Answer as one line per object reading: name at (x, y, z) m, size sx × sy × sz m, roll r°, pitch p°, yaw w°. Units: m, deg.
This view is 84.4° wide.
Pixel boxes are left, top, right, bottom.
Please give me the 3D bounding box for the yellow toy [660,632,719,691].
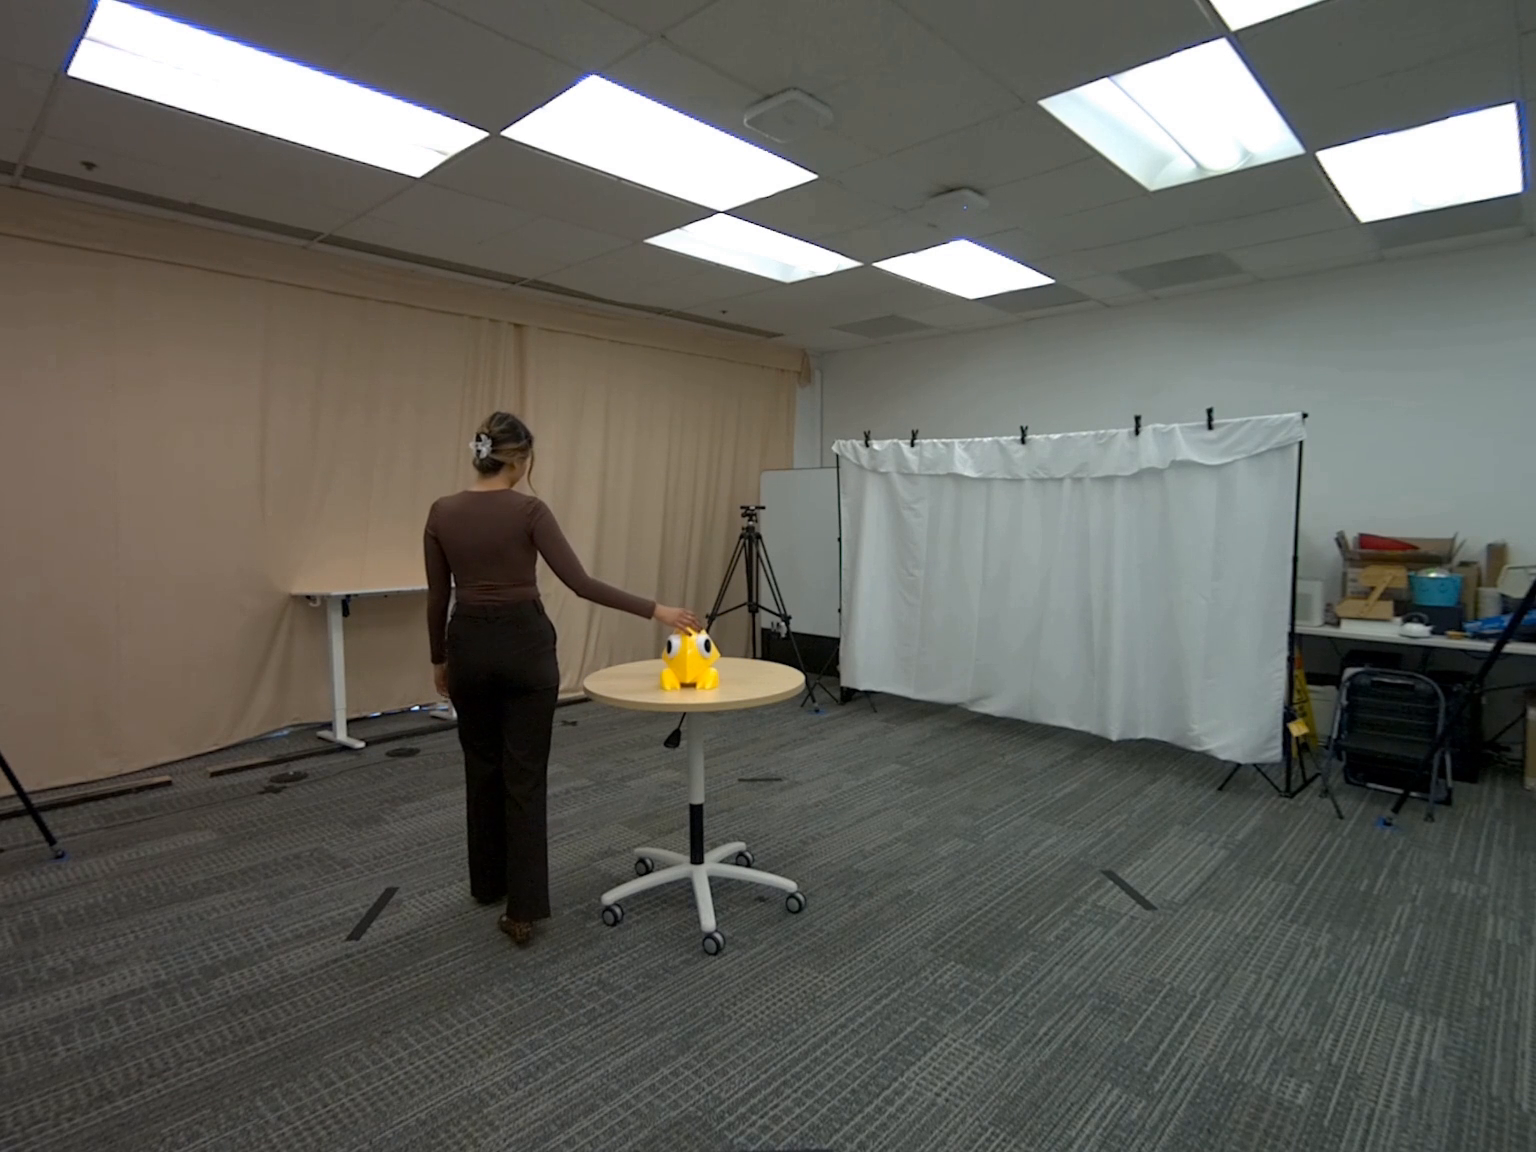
yellow toy at (-0.263, 0.248, 2.810) m, size 0.205 × 0.230 × 0.193 m, roll -1°, pitch 2°, yaw 0°
